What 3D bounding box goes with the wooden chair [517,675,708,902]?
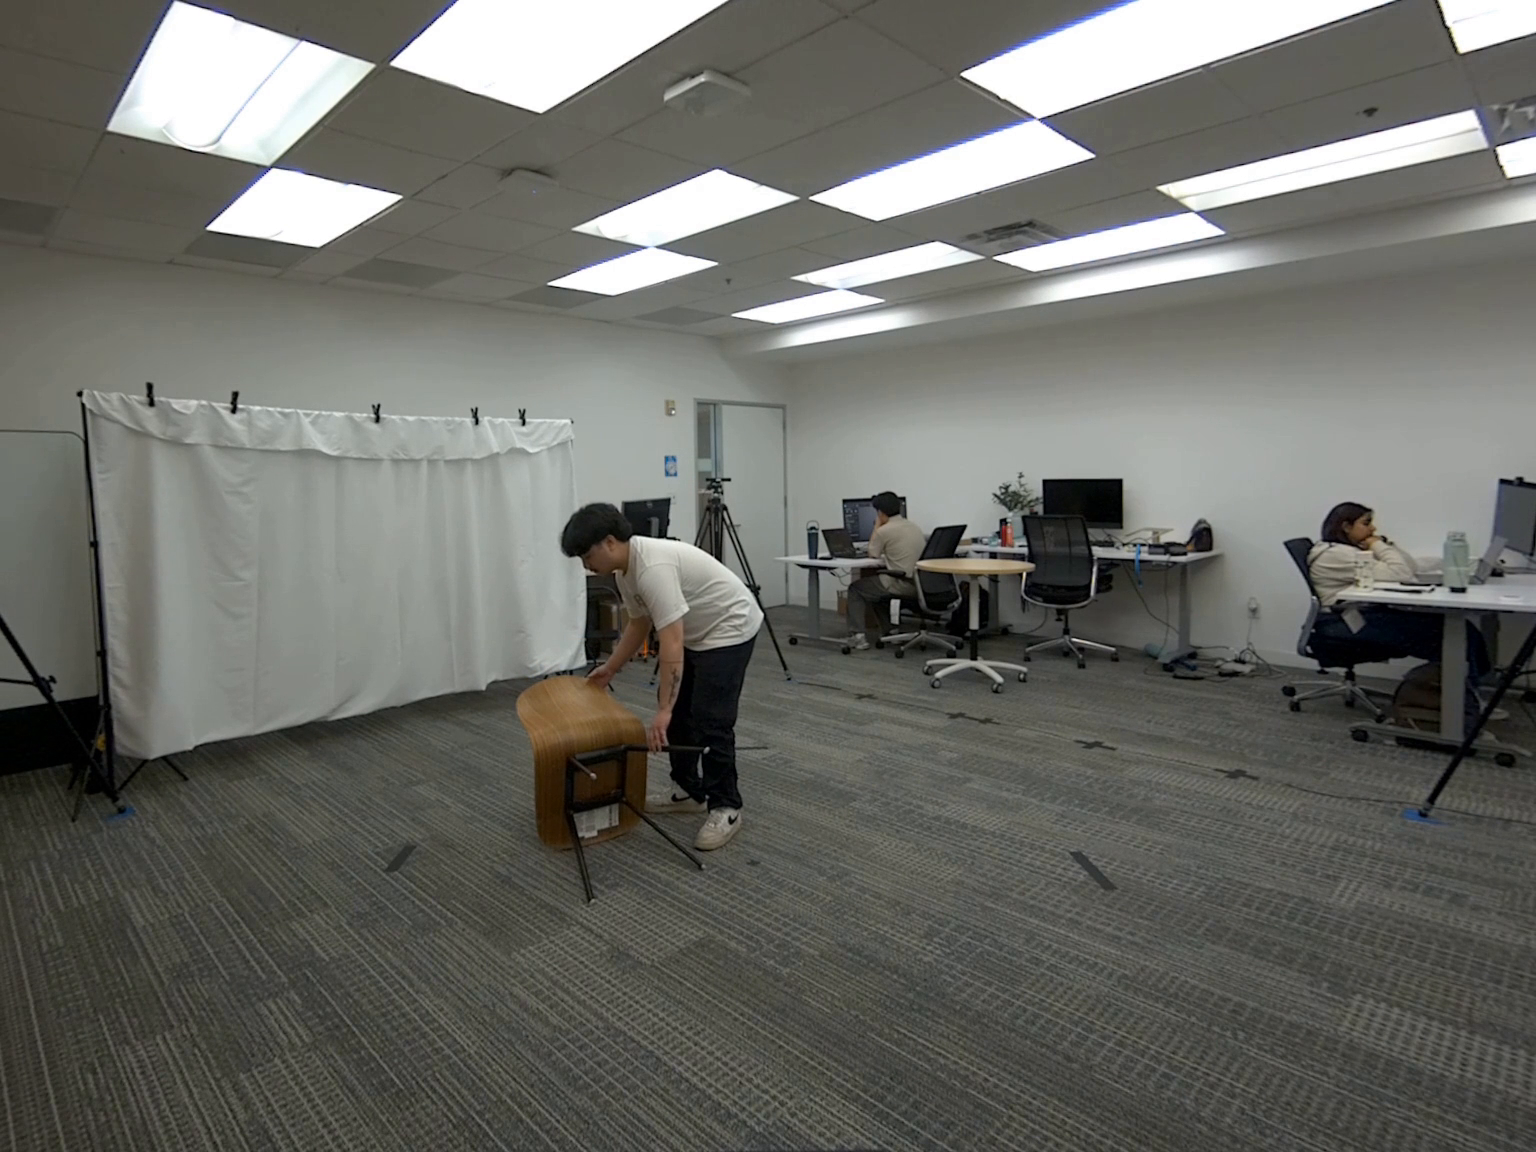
[{"bbox_3d":[-0.649,0.779,3.261,0.466,0.518,0.908,-5,15,-35],"label":"wooden chair"}]
